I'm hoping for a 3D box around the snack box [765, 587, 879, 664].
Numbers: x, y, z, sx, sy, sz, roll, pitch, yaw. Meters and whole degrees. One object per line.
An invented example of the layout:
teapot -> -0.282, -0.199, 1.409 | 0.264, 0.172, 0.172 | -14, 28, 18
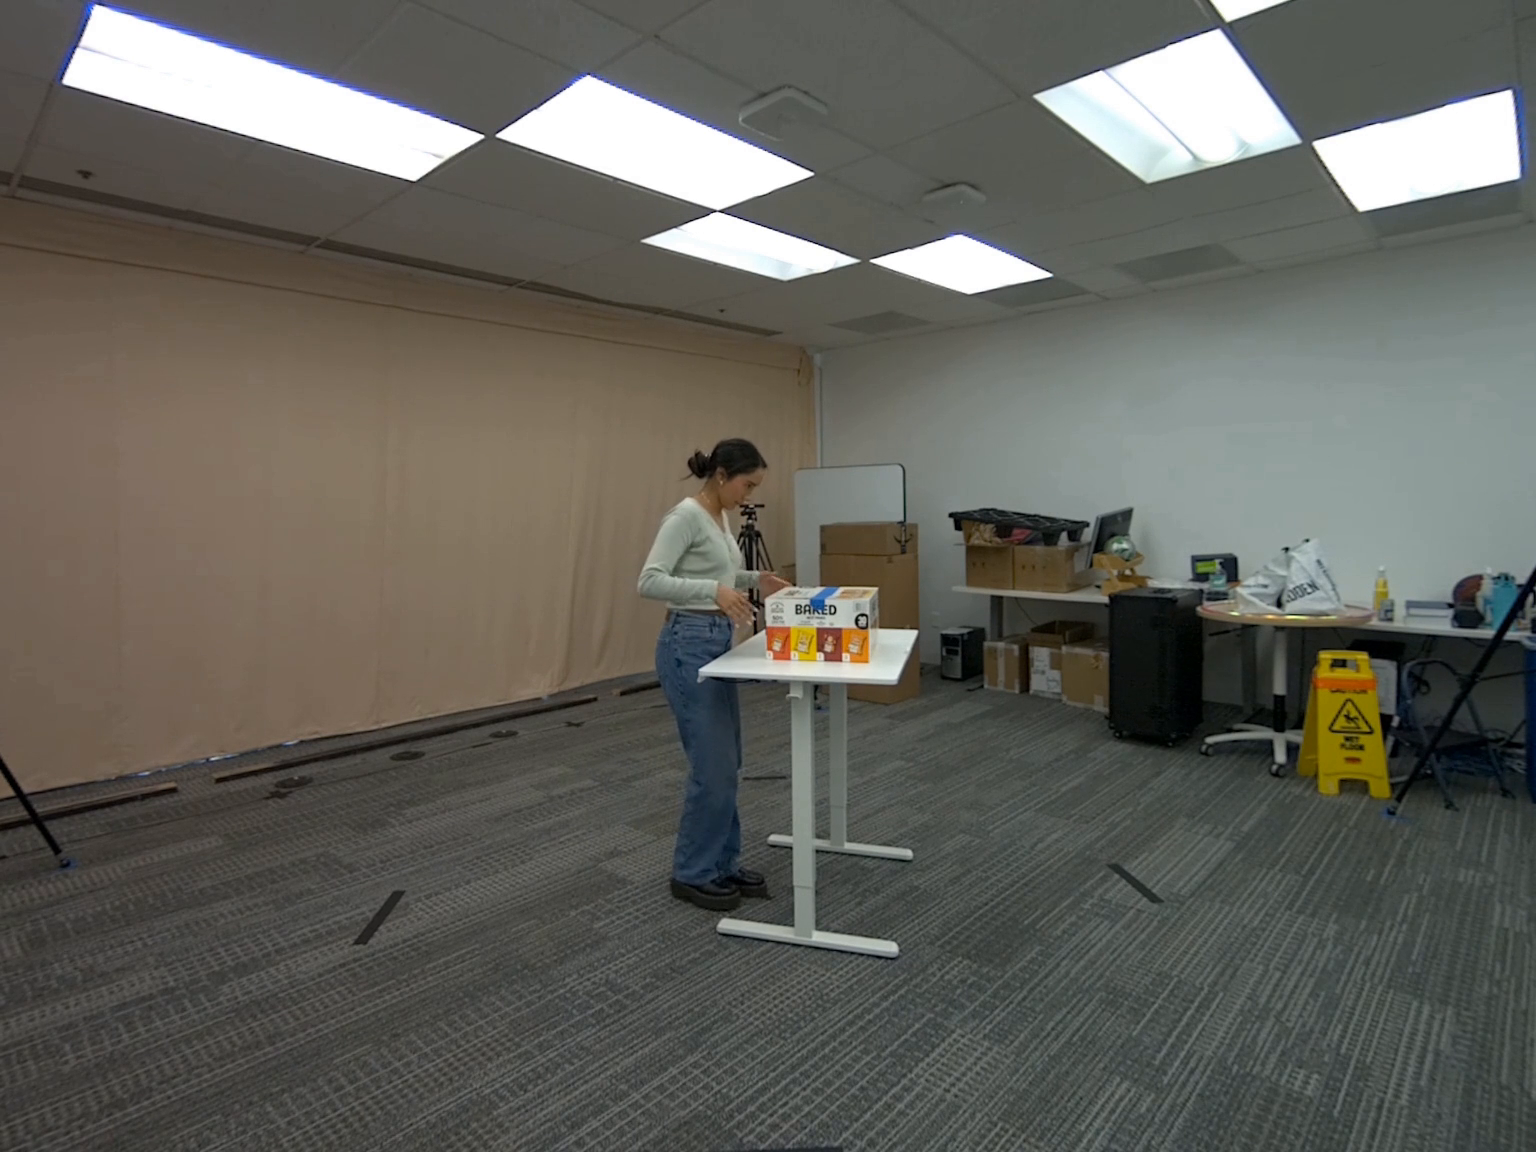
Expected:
snack box -> 0.200, 0.158, 2.904 | 0.346, 0.205, 0.400 | 0, 4, 14
